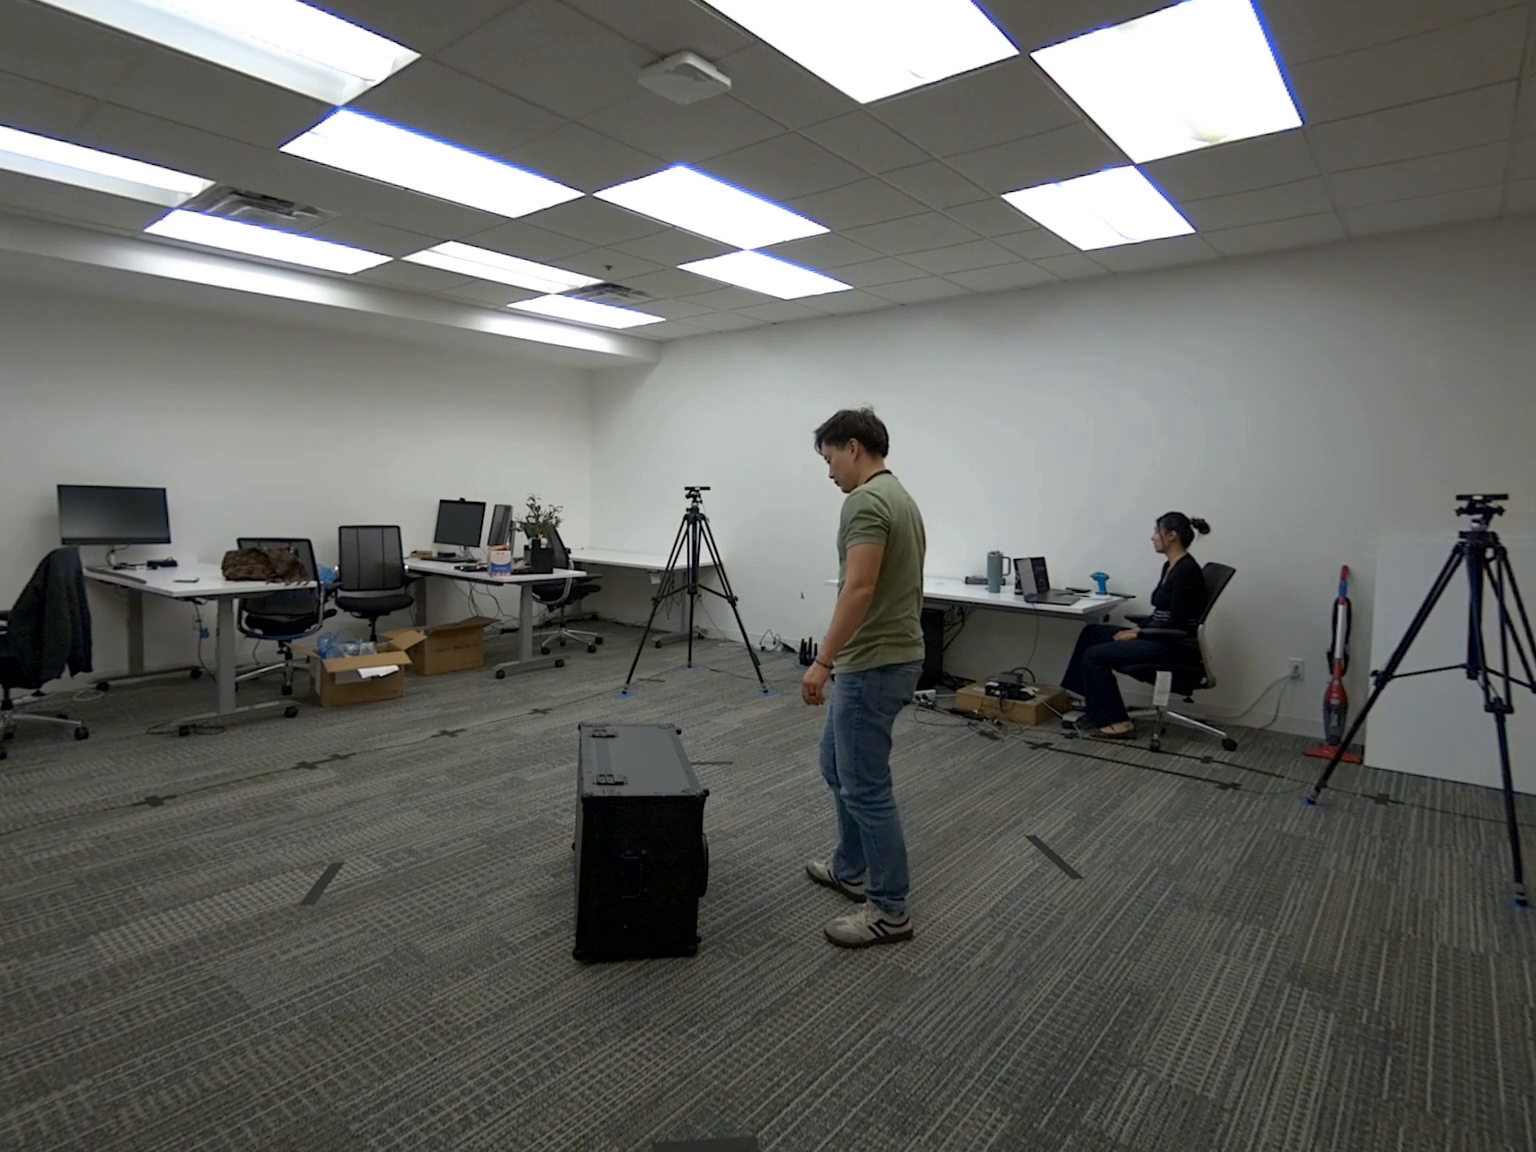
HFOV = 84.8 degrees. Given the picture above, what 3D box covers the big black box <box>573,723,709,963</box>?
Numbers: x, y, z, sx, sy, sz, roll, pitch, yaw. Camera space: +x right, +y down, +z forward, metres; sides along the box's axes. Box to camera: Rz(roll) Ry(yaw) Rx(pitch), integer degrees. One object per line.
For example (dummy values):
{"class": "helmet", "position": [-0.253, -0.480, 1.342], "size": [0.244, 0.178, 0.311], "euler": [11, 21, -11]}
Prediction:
{"class": "big black box", "position": [-0.463, 0.827, 2.891], "size": [0.391, 0.519, 0.876], "euler": [2, 5, -14]}
